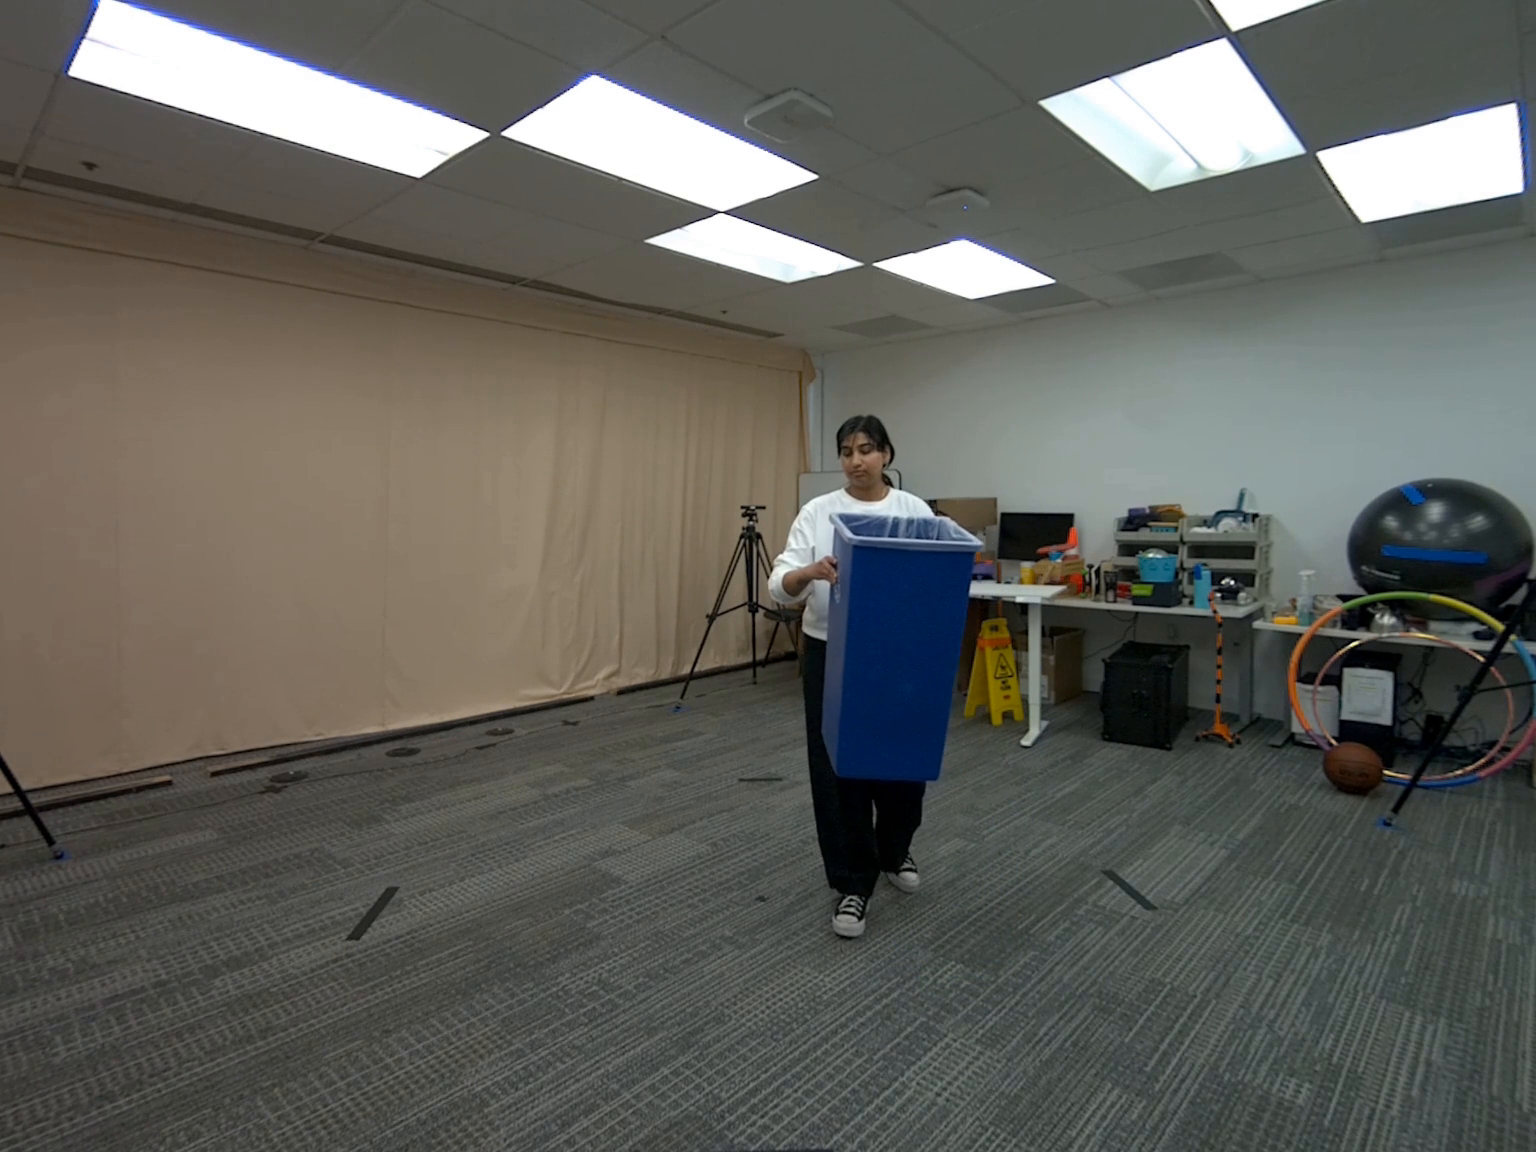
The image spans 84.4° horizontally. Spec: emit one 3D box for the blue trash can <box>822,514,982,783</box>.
[{"bbox_3d":[0.366,0.202,2.476,0.377,0.708,0.378,2,13,-3],"label":"blue trash can"}]
